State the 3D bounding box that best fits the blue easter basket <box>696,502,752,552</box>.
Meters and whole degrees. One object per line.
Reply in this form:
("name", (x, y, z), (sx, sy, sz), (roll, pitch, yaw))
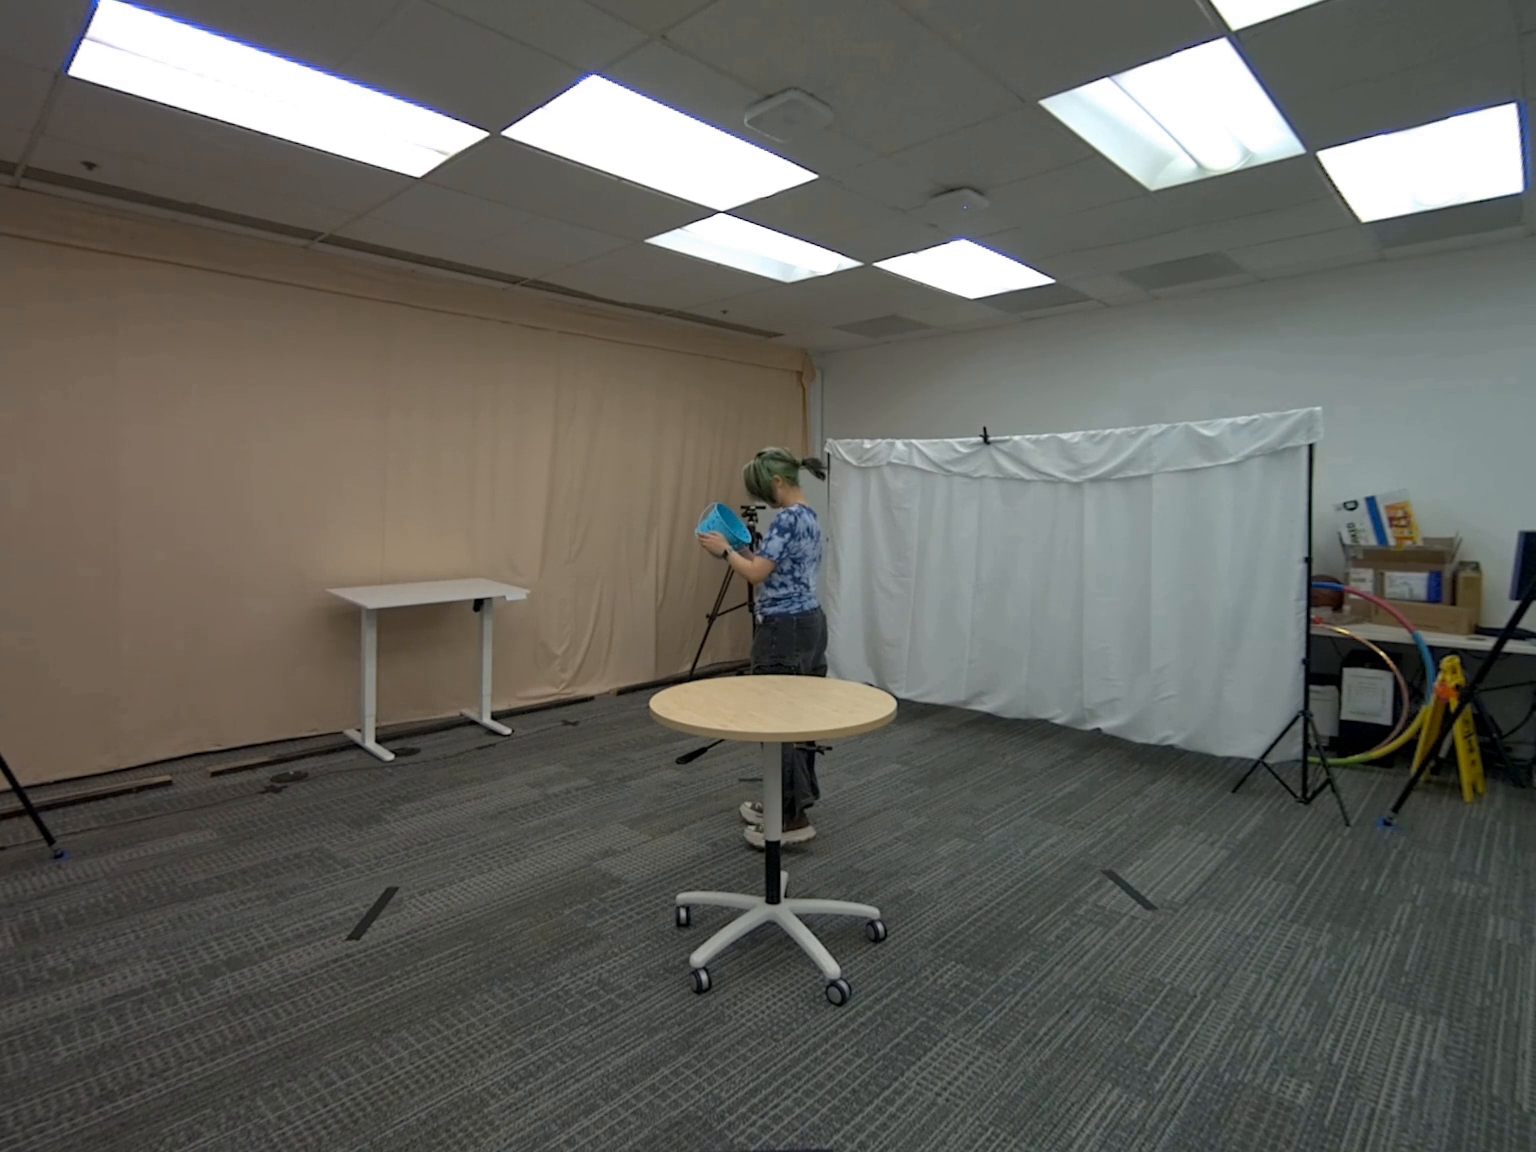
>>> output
("blue easter basket", (-0.202, -0.190, 3.741), (0.157, 0.246, 0.239), (-41, -9, 16))
